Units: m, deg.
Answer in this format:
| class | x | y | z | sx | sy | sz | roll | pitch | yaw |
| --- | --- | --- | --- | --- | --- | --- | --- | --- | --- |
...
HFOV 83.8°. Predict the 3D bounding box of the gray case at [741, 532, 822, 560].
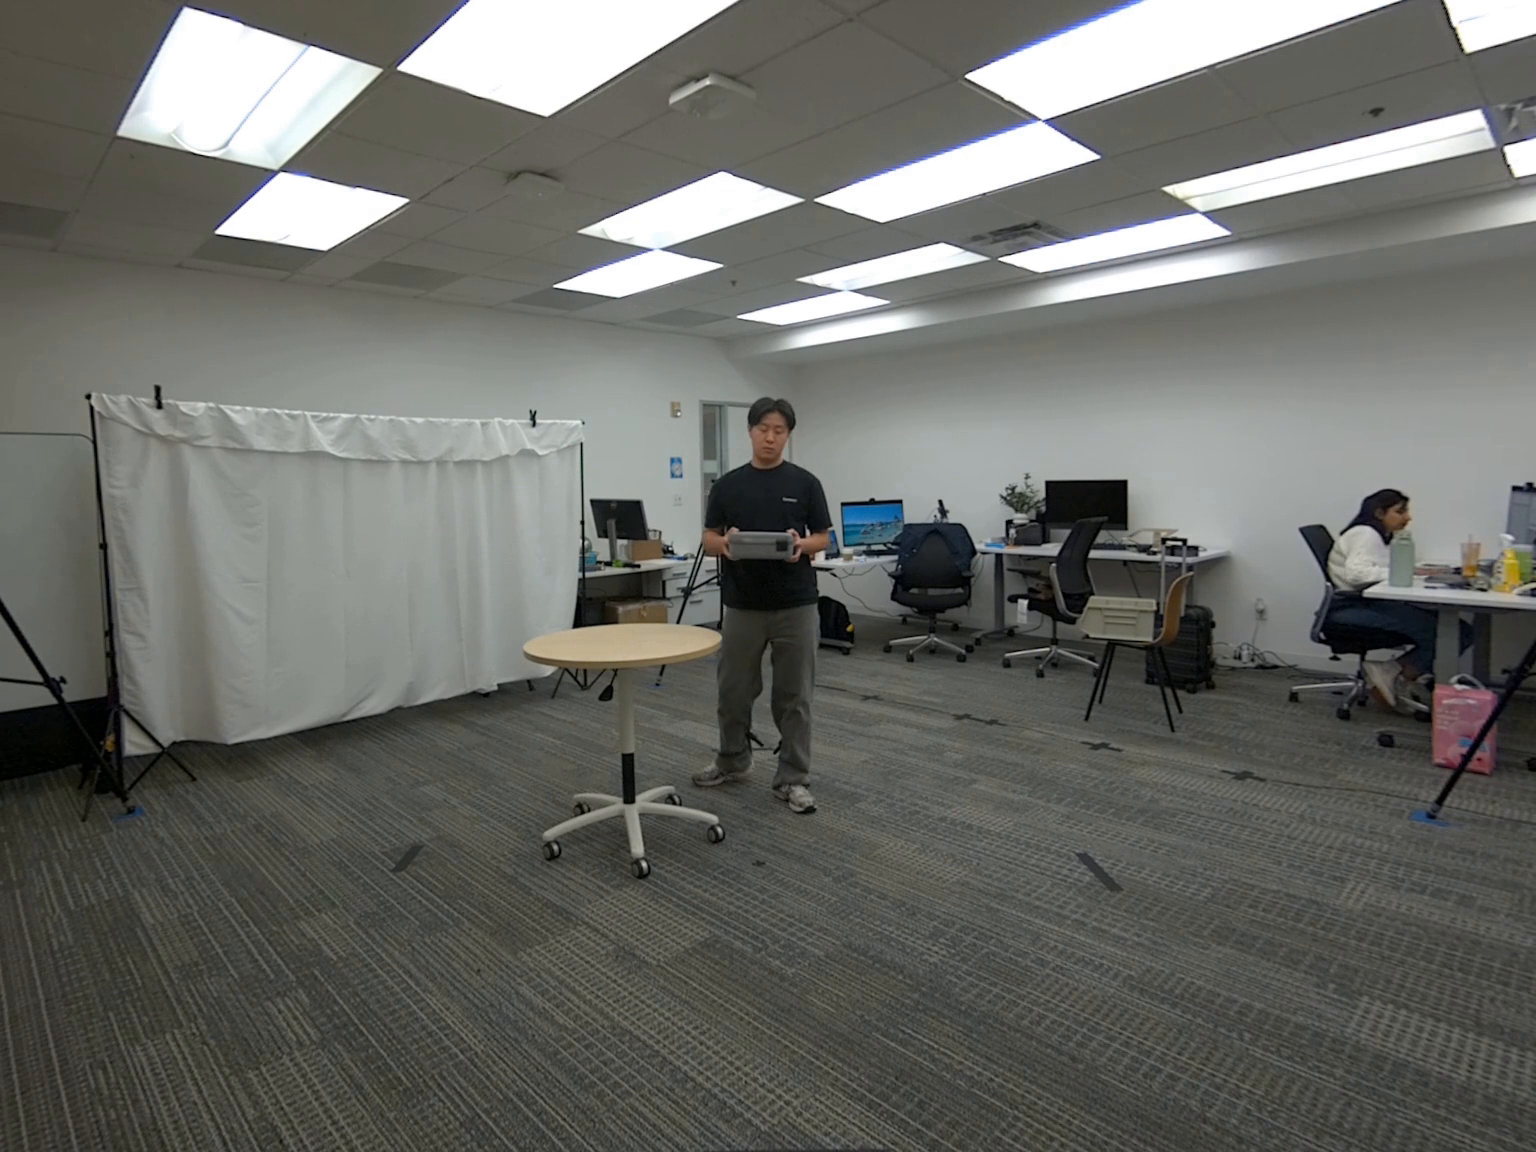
| class | x | y | z | sx | sy | sz | roll | pitch | yaw |
| --- | --- | --- | --- | --- | --- | --- | --- | --- | --- |
| gray case | 0.047 | -0.125 | 3.431 | 0.261 | 0.103 | 0.290 | -3 | 3 | -9 |
